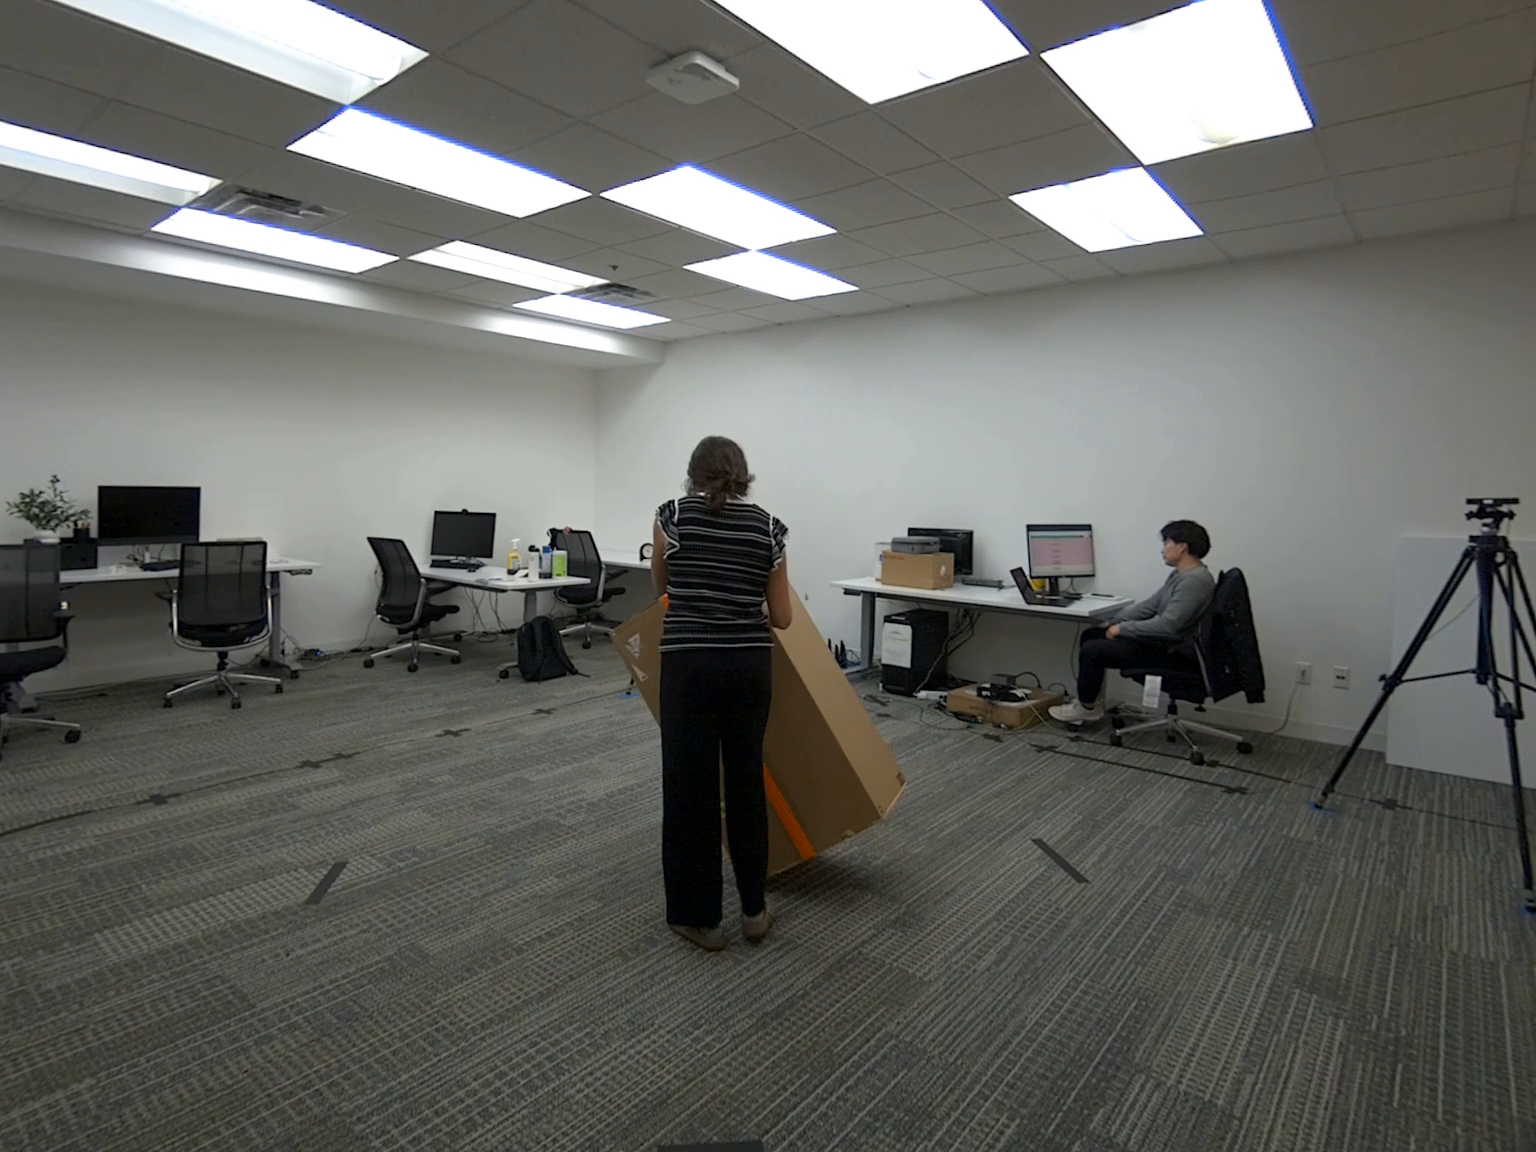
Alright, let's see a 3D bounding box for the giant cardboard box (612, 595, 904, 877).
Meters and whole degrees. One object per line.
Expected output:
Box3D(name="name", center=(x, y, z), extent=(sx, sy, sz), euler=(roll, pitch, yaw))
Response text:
Box3D(name="giant cardboard box", center=(-0.046, 0.485, 3.136), extent=(0.581, 1.041, 0.417), euler=(-34, -11, 21))
